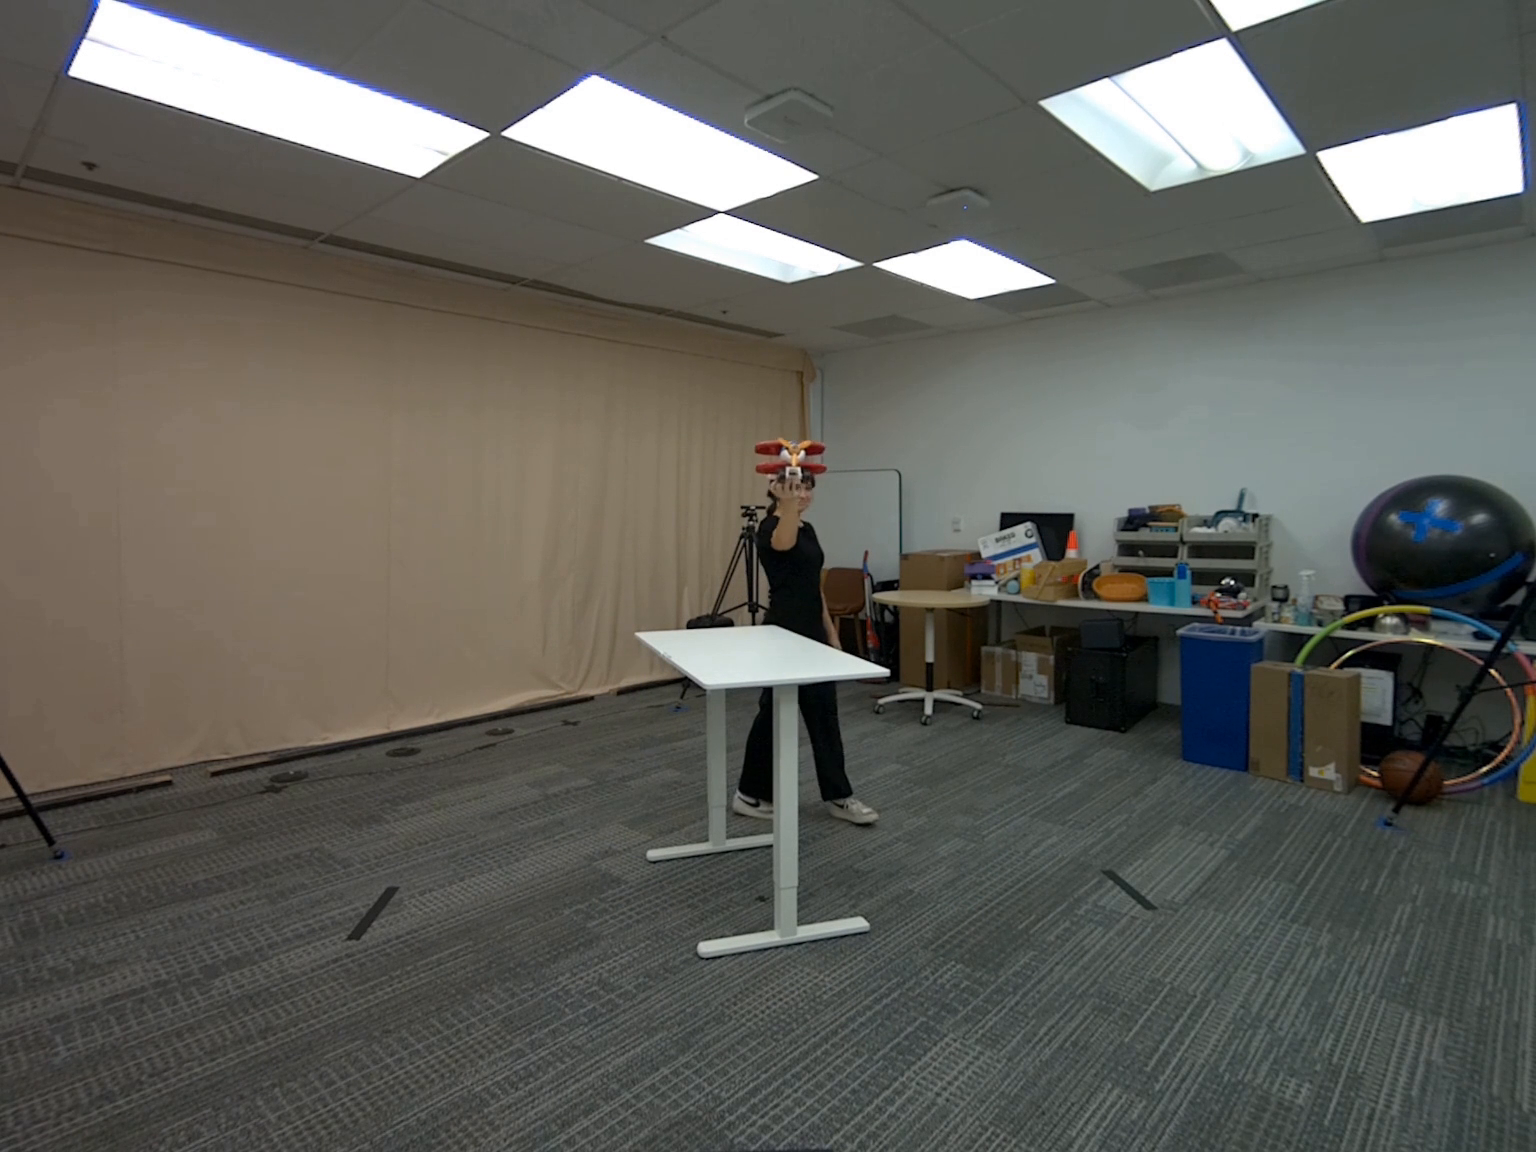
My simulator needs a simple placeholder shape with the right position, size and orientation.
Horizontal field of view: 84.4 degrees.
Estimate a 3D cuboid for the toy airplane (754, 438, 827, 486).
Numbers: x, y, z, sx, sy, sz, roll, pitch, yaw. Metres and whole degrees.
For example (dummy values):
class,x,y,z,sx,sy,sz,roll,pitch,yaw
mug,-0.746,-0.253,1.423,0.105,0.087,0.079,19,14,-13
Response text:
class,x,y,z,sx,sy,sz,roll,pitch,yaw
toy airplane,0.061,-0.401,3.051,0.243,0.157,0.266,3,-4,-34
